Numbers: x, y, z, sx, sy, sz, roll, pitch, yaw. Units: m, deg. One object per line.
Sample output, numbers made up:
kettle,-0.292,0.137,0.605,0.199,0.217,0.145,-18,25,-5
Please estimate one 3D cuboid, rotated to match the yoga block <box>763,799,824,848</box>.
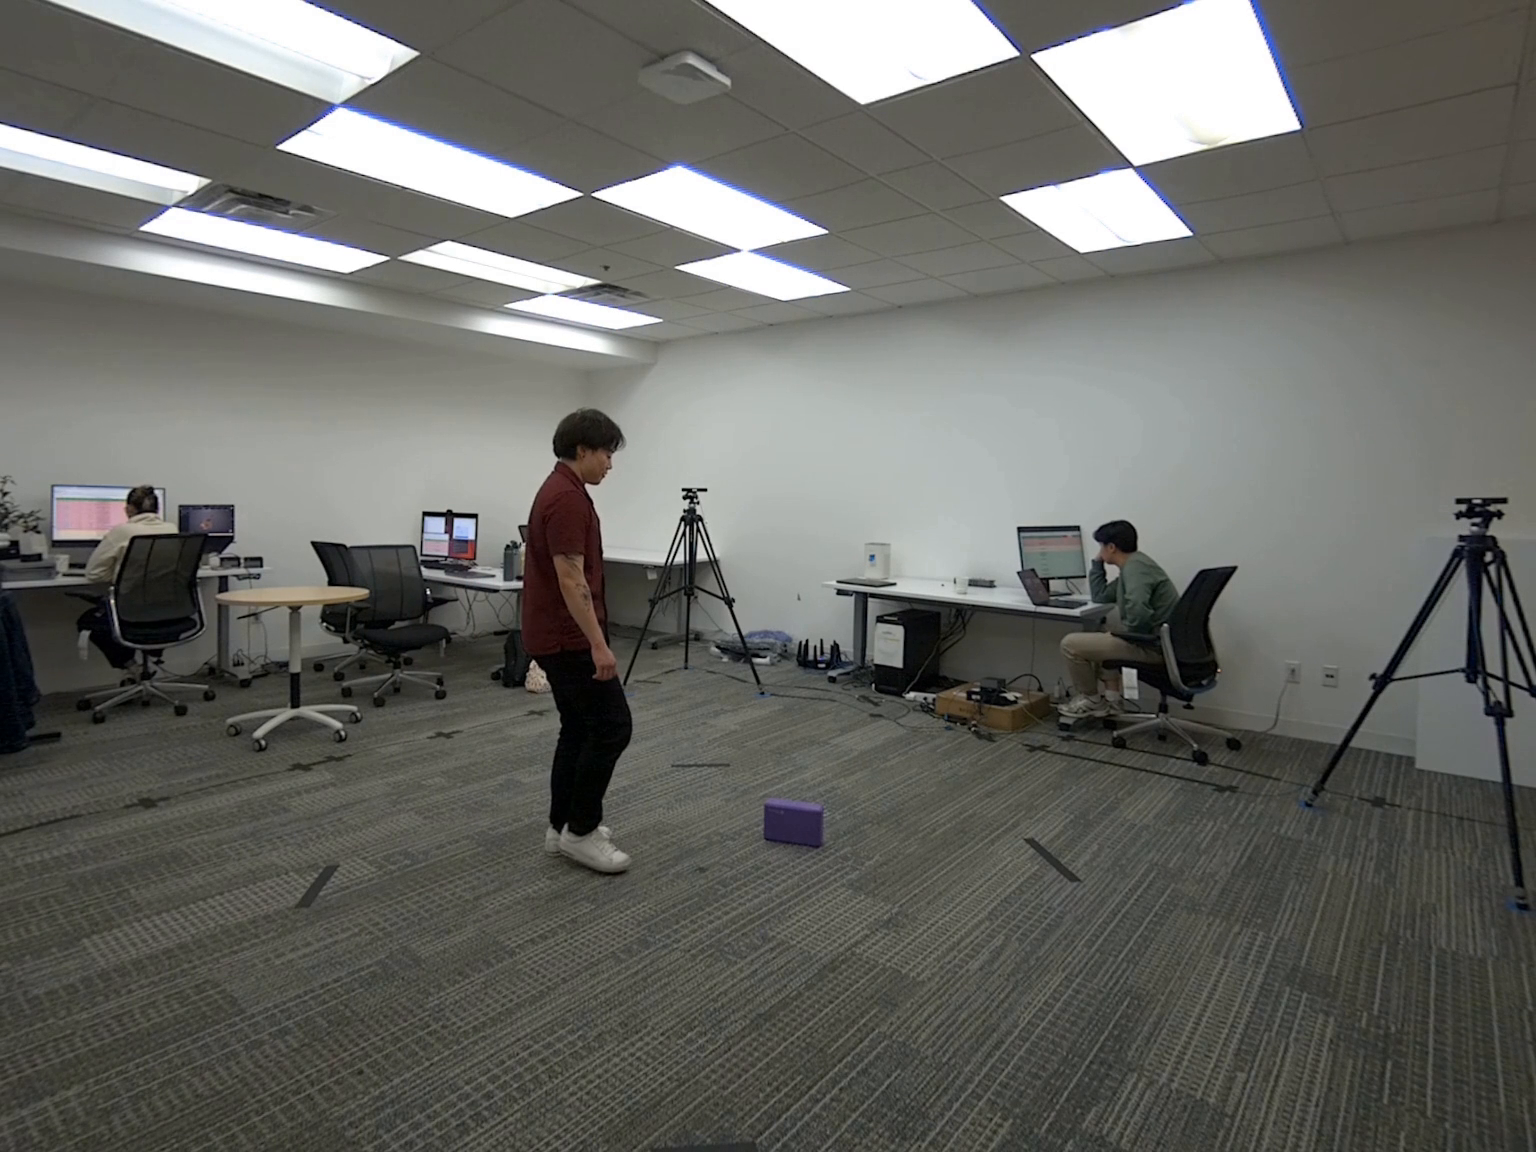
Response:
yoga block,0.093,0.974,3.380,0.233,0.149,0.075,5,2,15
